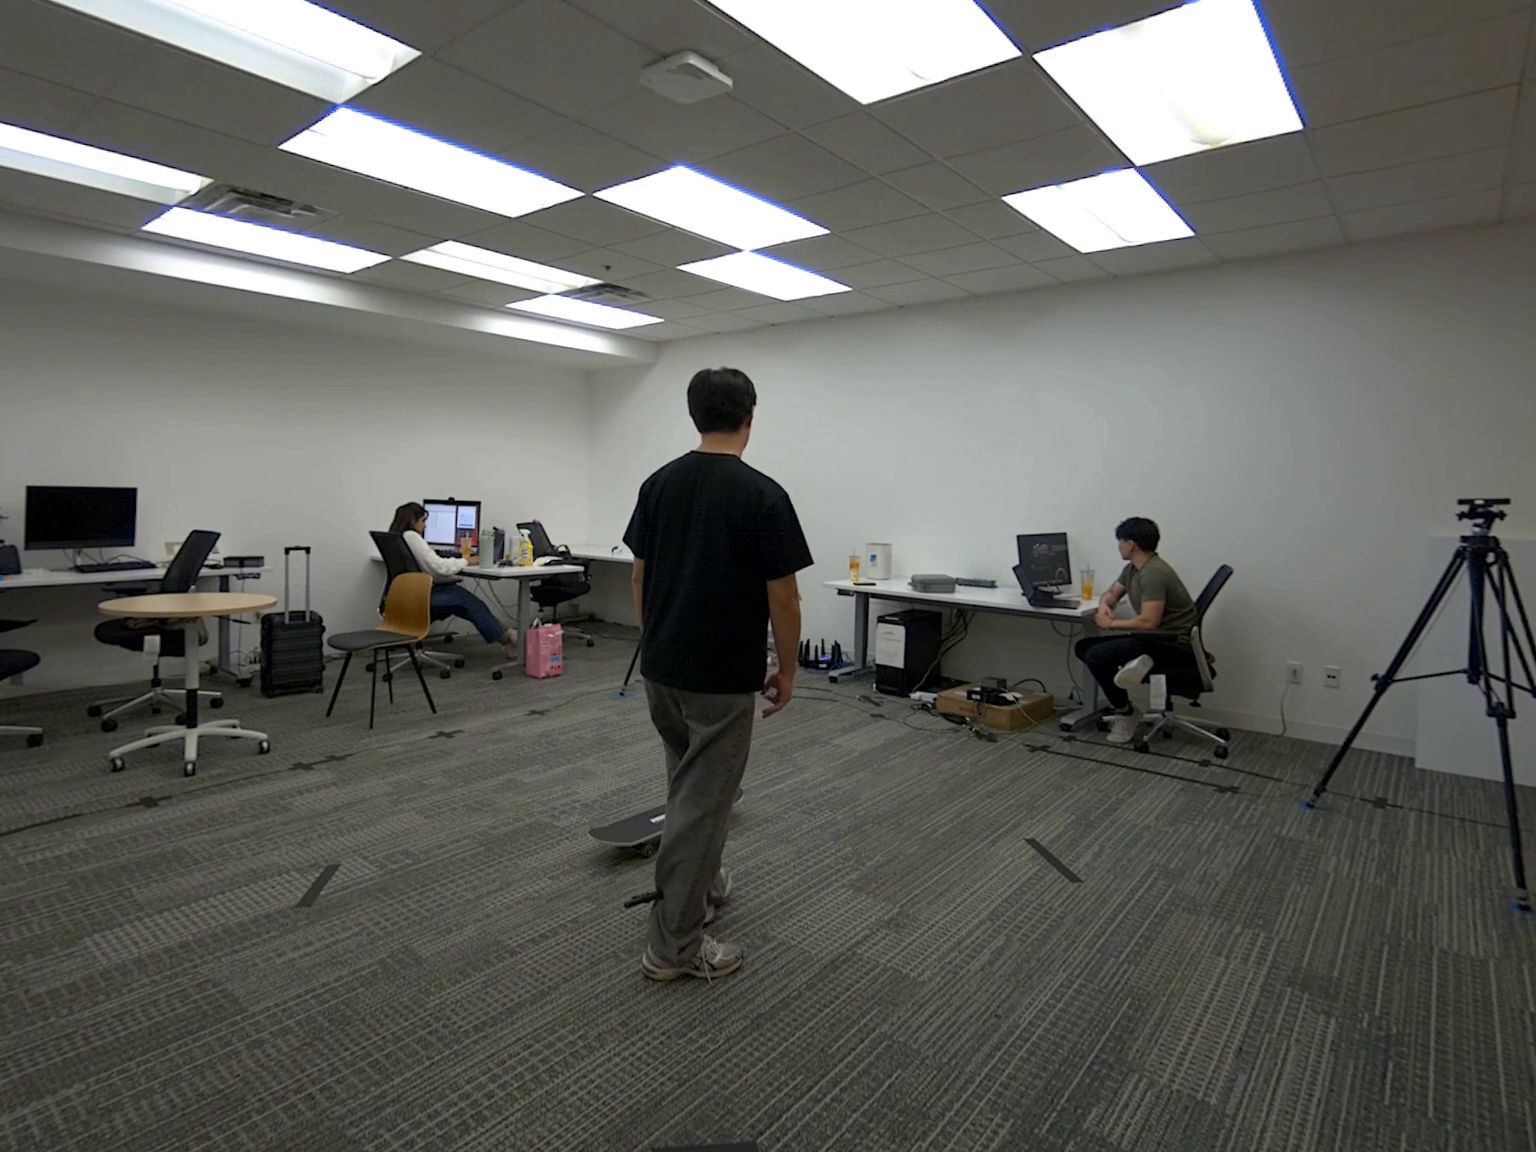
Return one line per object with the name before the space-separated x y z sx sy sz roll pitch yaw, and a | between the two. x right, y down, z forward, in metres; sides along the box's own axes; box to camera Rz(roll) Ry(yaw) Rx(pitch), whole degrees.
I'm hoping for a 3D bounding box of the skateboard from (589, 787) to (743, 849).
skateboard | -0.393 0.983 3.393 0.200 0.110 0.762 5 7 41
